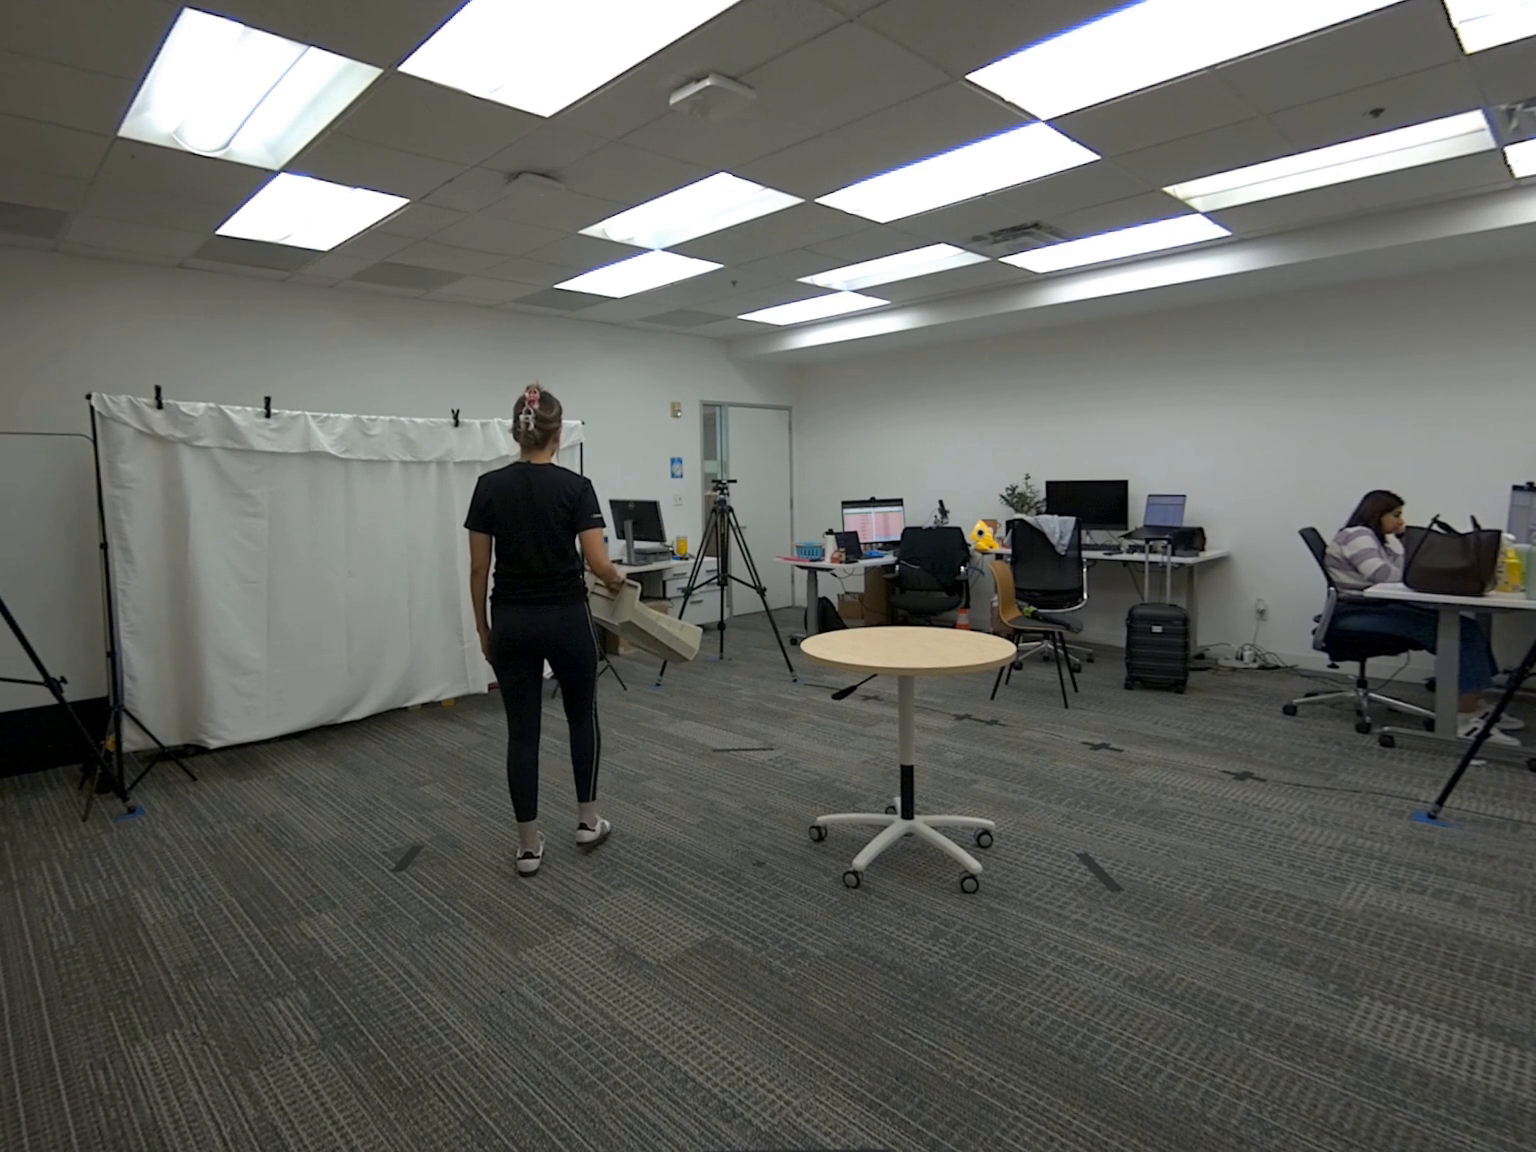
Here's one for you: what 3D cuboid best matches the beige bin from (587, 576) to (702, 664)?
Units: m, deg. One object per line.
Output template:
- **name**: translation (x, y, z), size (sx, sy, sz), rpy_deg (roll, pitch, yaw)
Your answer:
- **beige bin**: translation (-0.524, 0.170, 3.455), size (0.391, 0.190, 0.406), rpy_deg (15, -17, 42)
